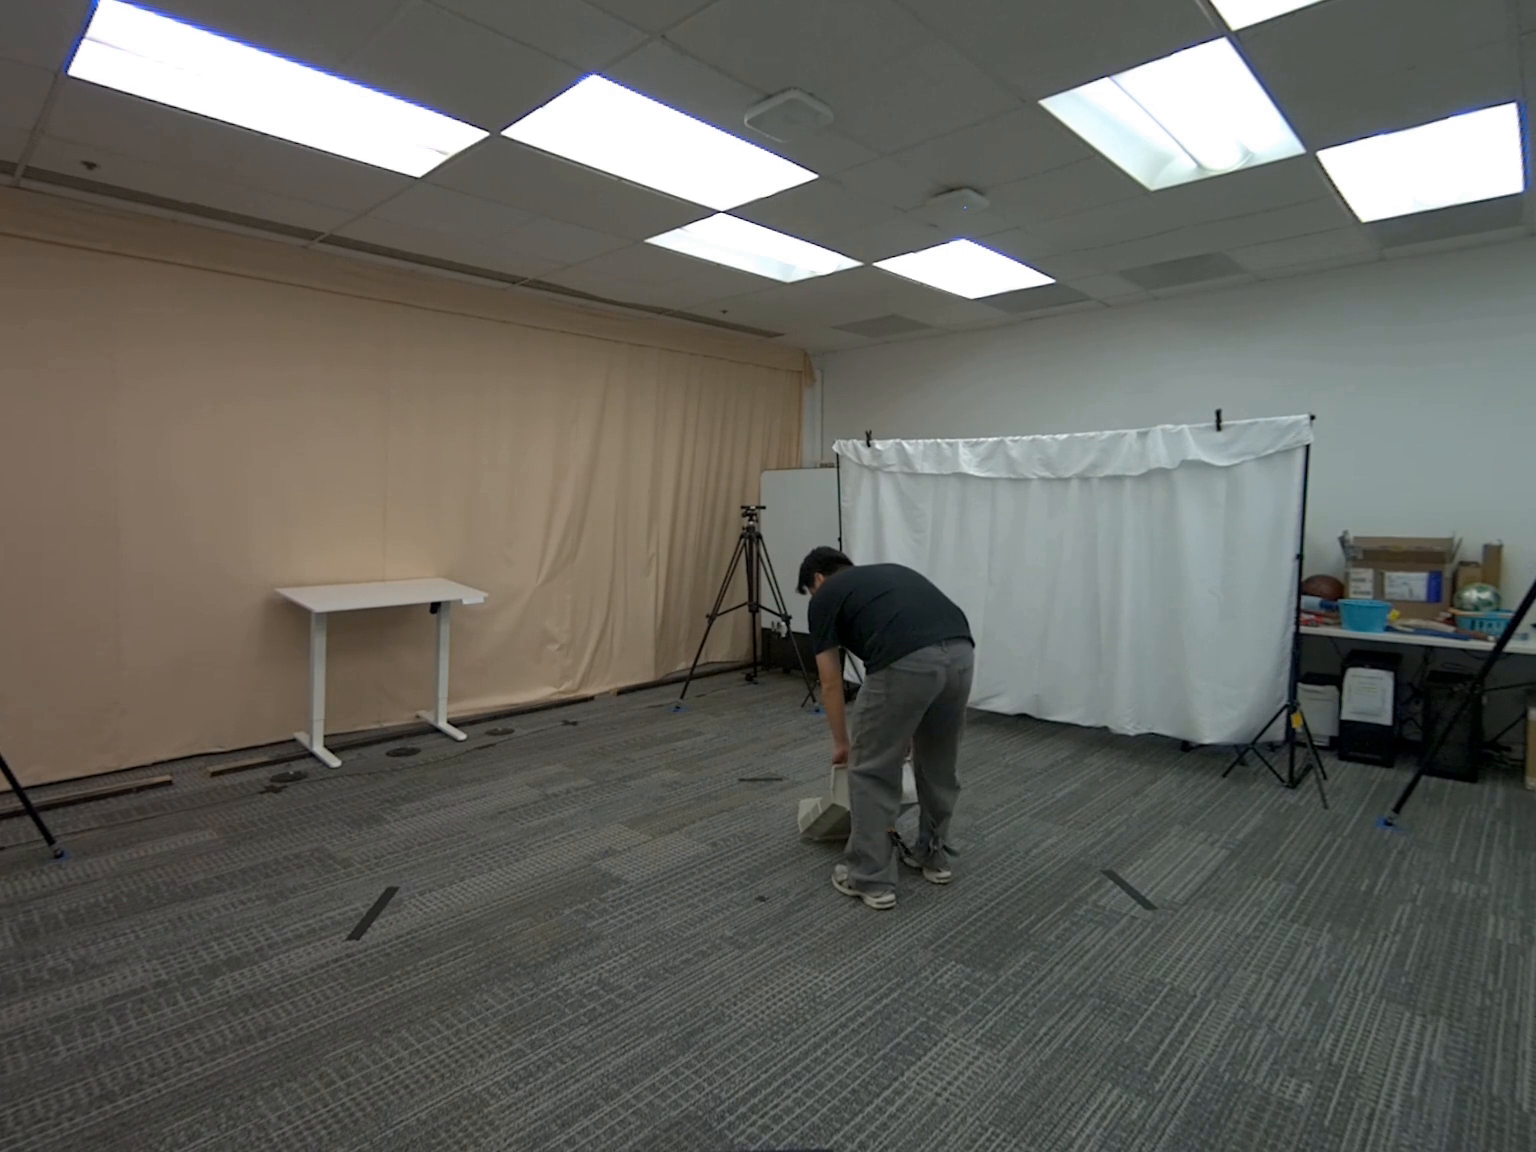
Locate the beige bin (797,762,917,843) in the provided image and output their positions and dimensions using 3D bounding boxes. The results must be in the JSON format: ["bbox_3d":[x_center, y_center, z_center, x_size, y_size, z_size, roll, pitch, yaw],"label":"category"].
[{"bbox_3d":[0.354,0.910,3.405,0.371,0.193,0.420,0,-33,-17],"label":"beige bin"}]
